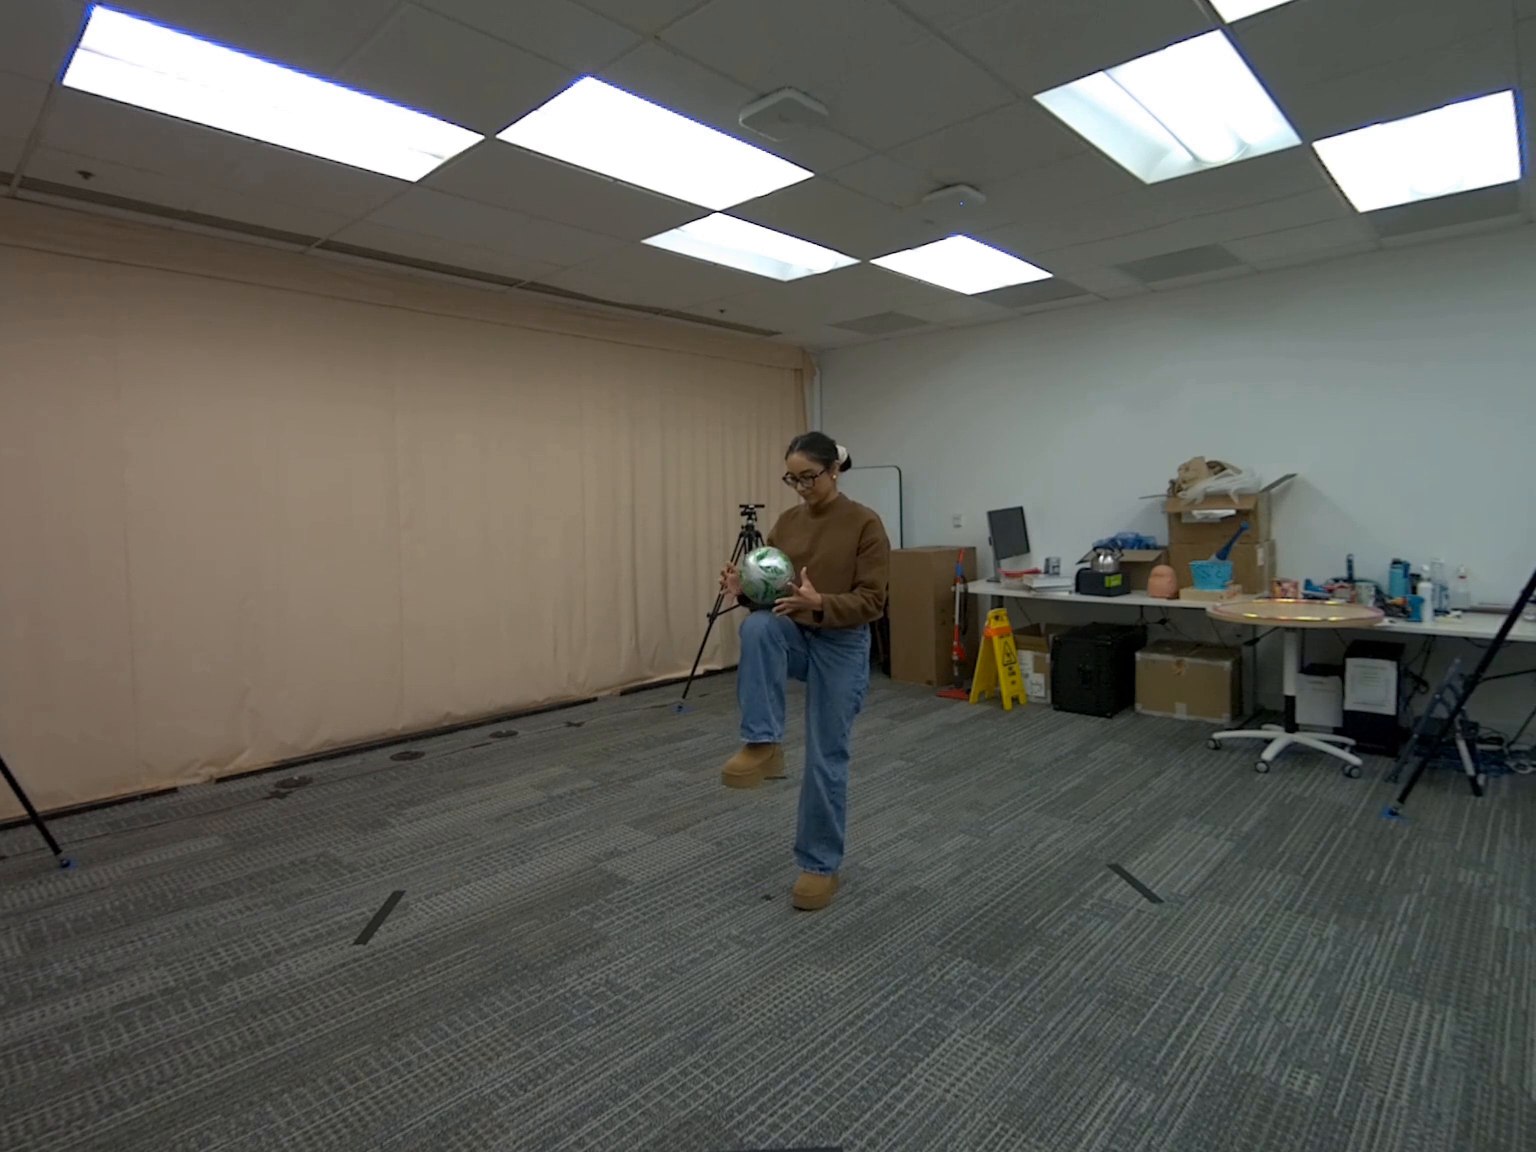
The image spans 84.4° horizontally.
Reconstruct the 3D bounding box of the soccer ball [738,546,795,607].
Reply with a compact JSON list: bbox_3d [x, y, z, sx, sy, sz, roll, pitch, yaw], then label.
[{"bbox_3d":[0.004,0.020,2.768,0.187,0.187,0.188,-1,4,-2],"label":"soccer ball"}]
